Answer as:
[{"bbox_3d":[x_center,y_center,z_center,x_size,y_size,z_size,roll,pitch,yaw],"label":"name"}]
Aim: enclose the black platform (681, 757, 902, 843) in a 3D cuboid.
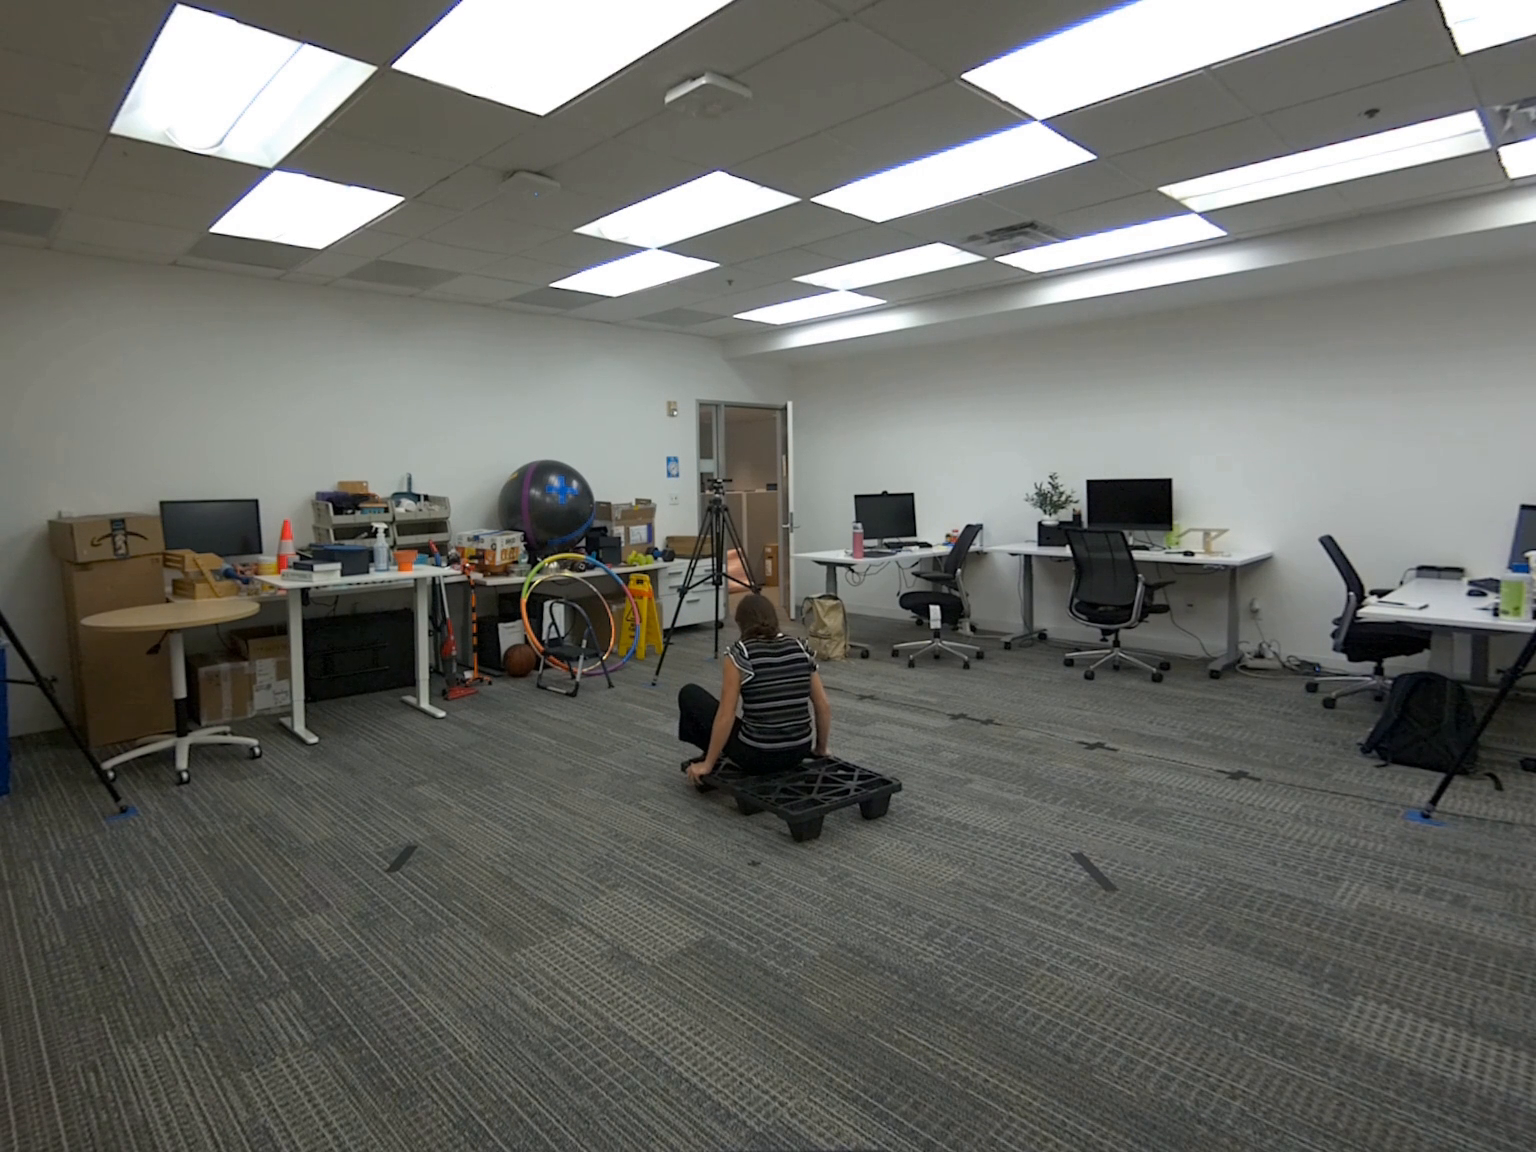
[{"bbox_3d":[0.086,0.910,3.693,0.589,0.143,0.830,-5,7,-37],"label":"black platform"}]
